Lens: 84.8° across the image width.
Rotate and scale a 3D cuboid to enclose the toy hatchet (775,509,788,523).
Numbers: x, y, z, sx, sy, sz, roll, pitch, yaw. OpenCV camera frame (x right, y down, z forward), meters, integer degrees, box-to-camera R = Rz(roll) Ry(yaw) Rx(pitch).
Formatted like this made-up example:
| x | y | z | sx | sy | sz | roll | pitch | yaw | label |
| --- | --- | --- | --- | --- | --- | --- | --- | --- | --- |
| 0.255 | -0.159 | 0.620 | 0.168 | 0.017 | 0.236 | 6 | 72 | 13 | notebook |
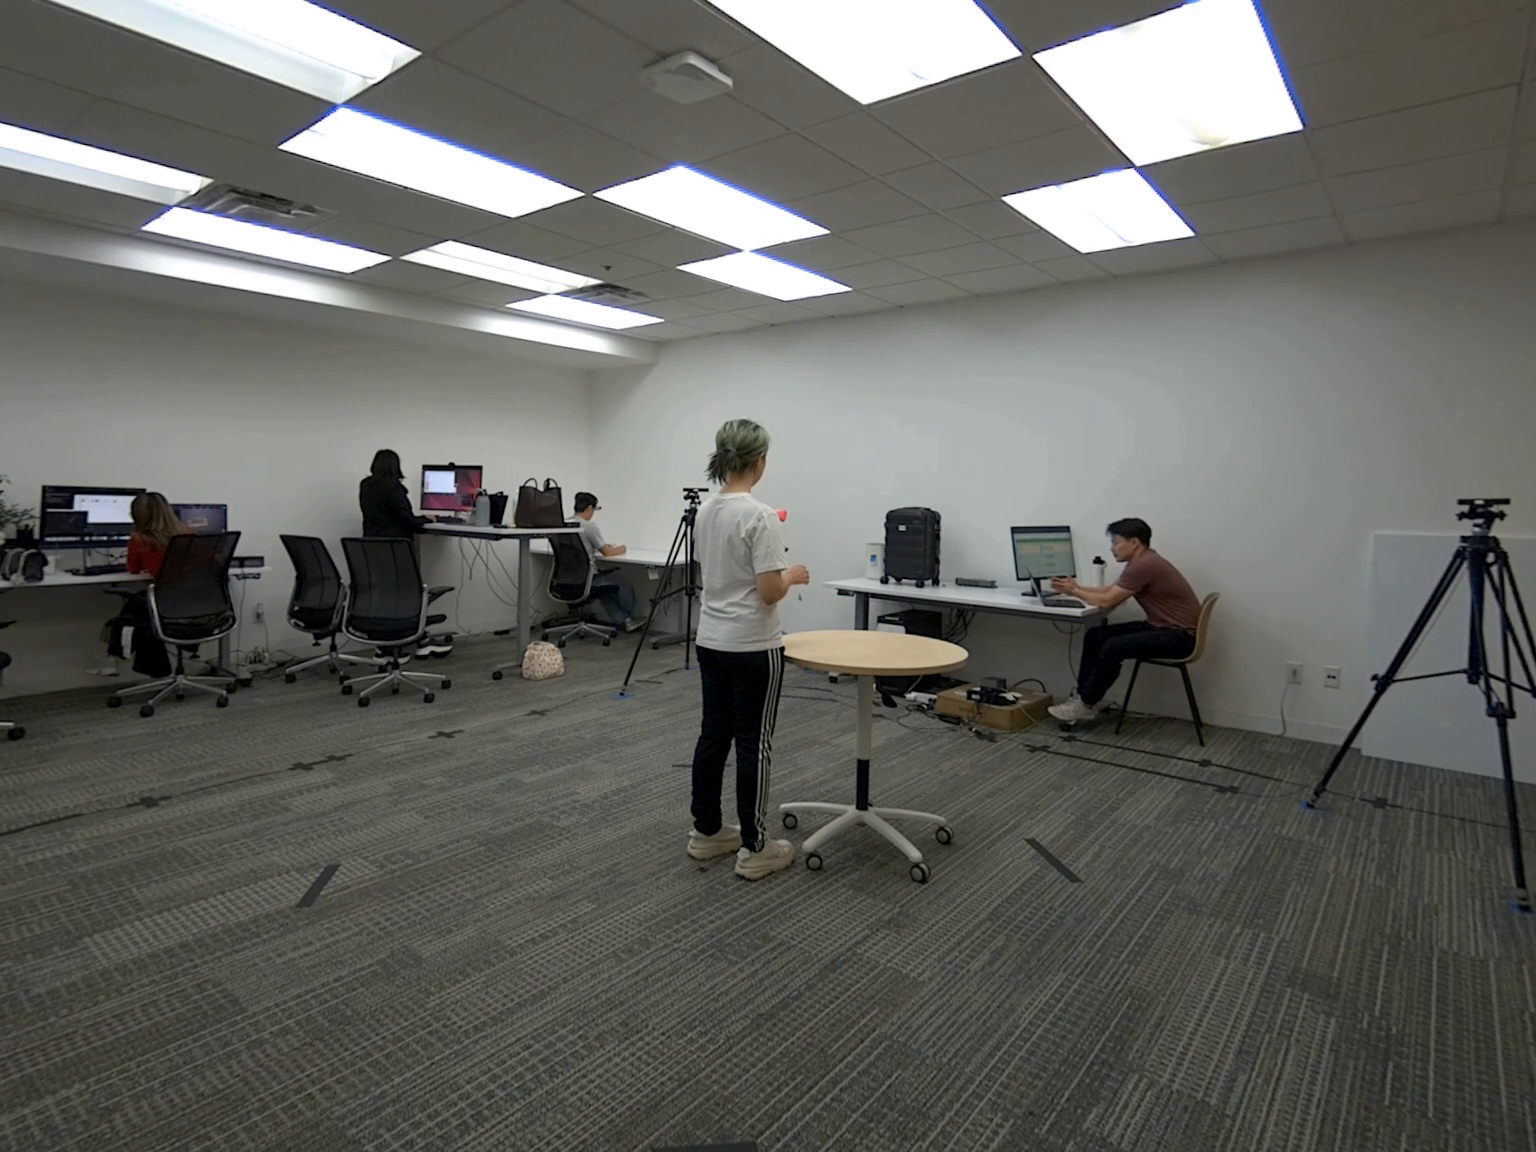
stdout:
| x | y | z | sx | sy | sz | roll | pitch | yaw | label |
| --- | --- | --- | --- | --- | --- | --- | --- | --- | --- |
| 0.041 | -0.198 | 3.535 | 0.130 | 0.028 | 0.281 | -23 | 42 | -8 | toy hatchet |
